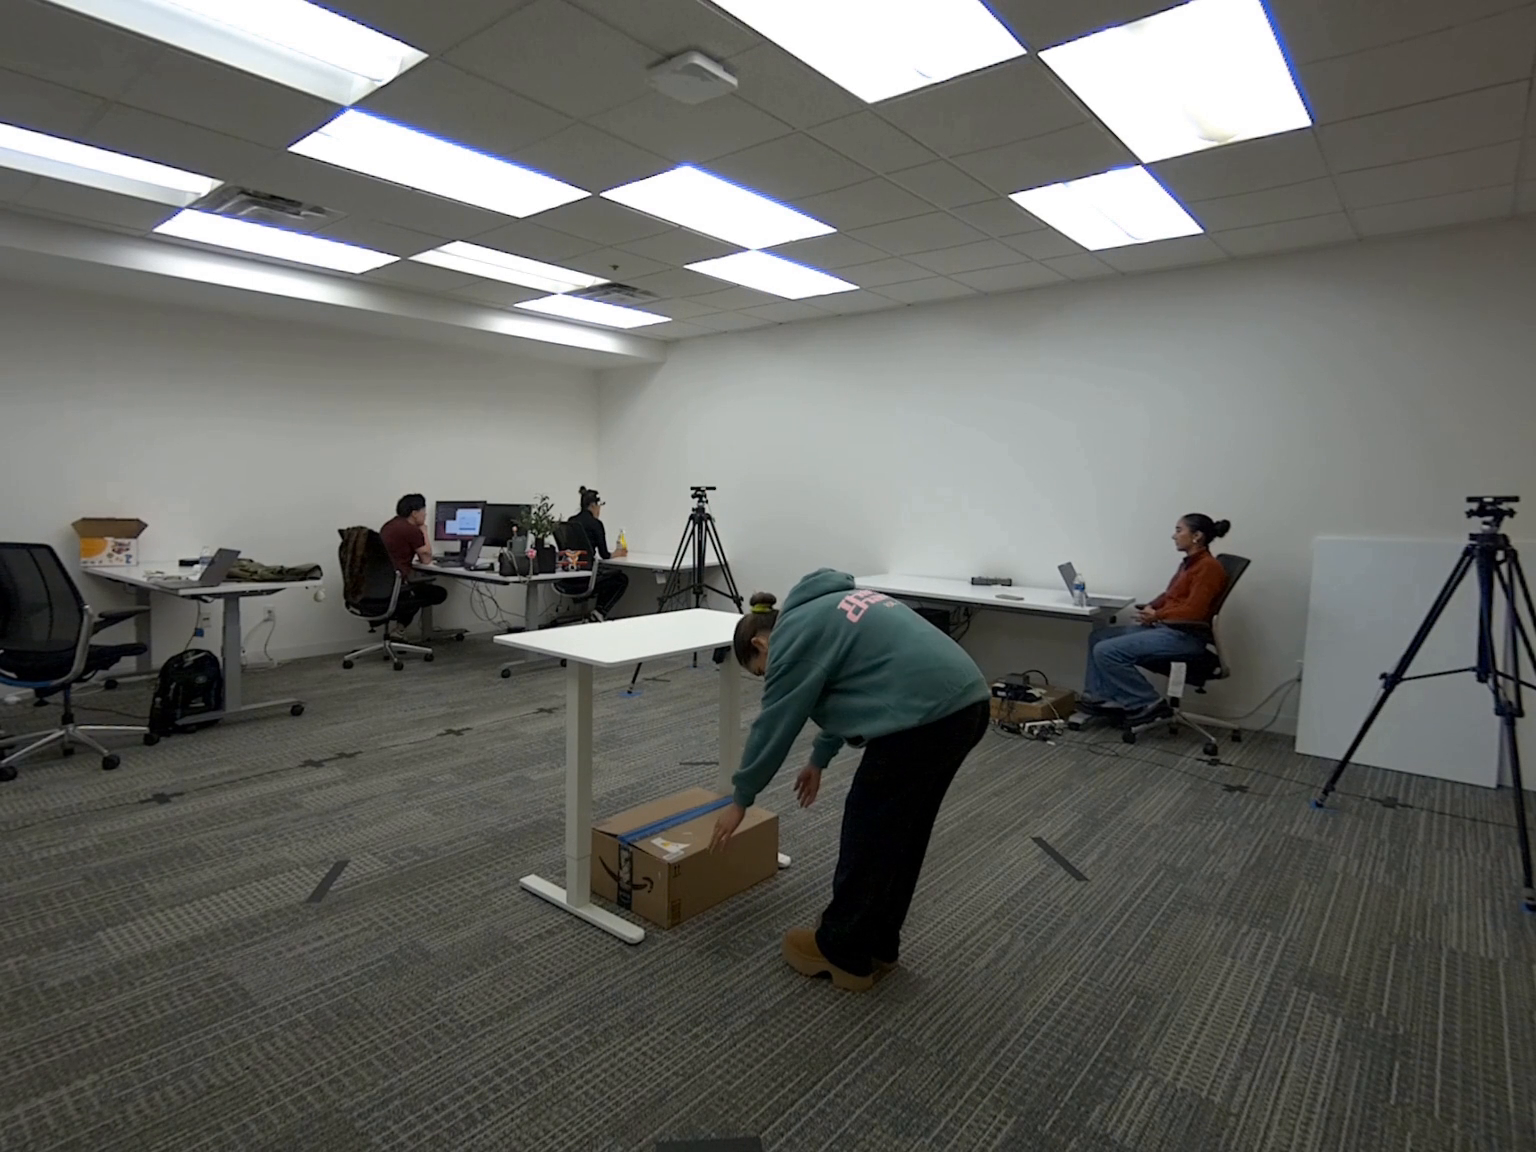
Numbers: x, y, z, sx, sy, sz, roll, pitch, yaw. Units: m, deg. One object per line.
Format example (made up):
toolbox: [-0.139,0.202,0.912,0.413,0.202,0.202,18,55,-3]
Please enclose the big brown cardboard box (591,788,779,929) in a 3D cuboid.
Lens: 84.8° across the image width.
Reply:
big brown cardboard box: [-0.304,0.963,2.992,0.432,0.232,0.571,5,6,39]
